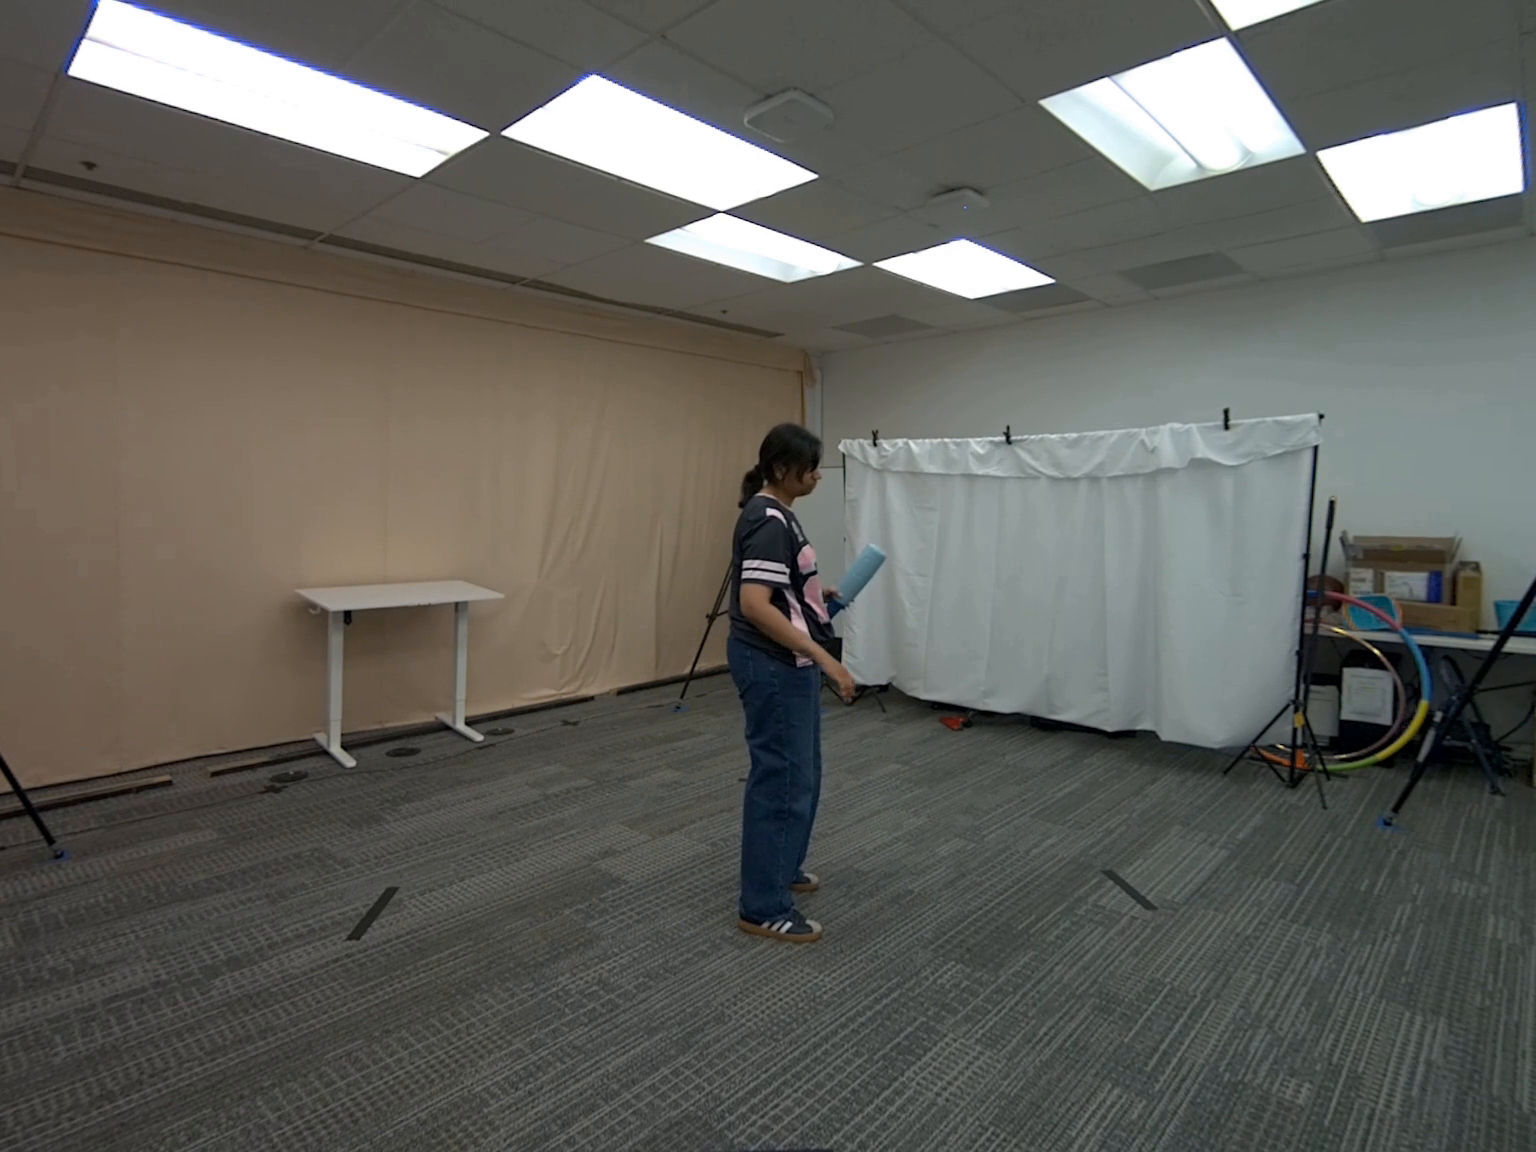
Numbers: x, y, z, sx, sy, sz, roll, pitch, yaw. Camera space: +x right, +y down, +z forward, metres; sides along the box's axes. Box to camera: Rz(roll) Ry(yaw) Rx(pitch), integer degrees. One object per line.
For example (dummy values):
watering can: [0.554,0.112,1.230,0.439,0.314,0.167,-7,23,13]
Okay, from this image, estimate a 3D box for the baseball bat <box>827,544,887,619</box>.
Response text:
baseball bat: [0.260,0.115,3.161,0.088,0.544,0.090,35,14,-12]
